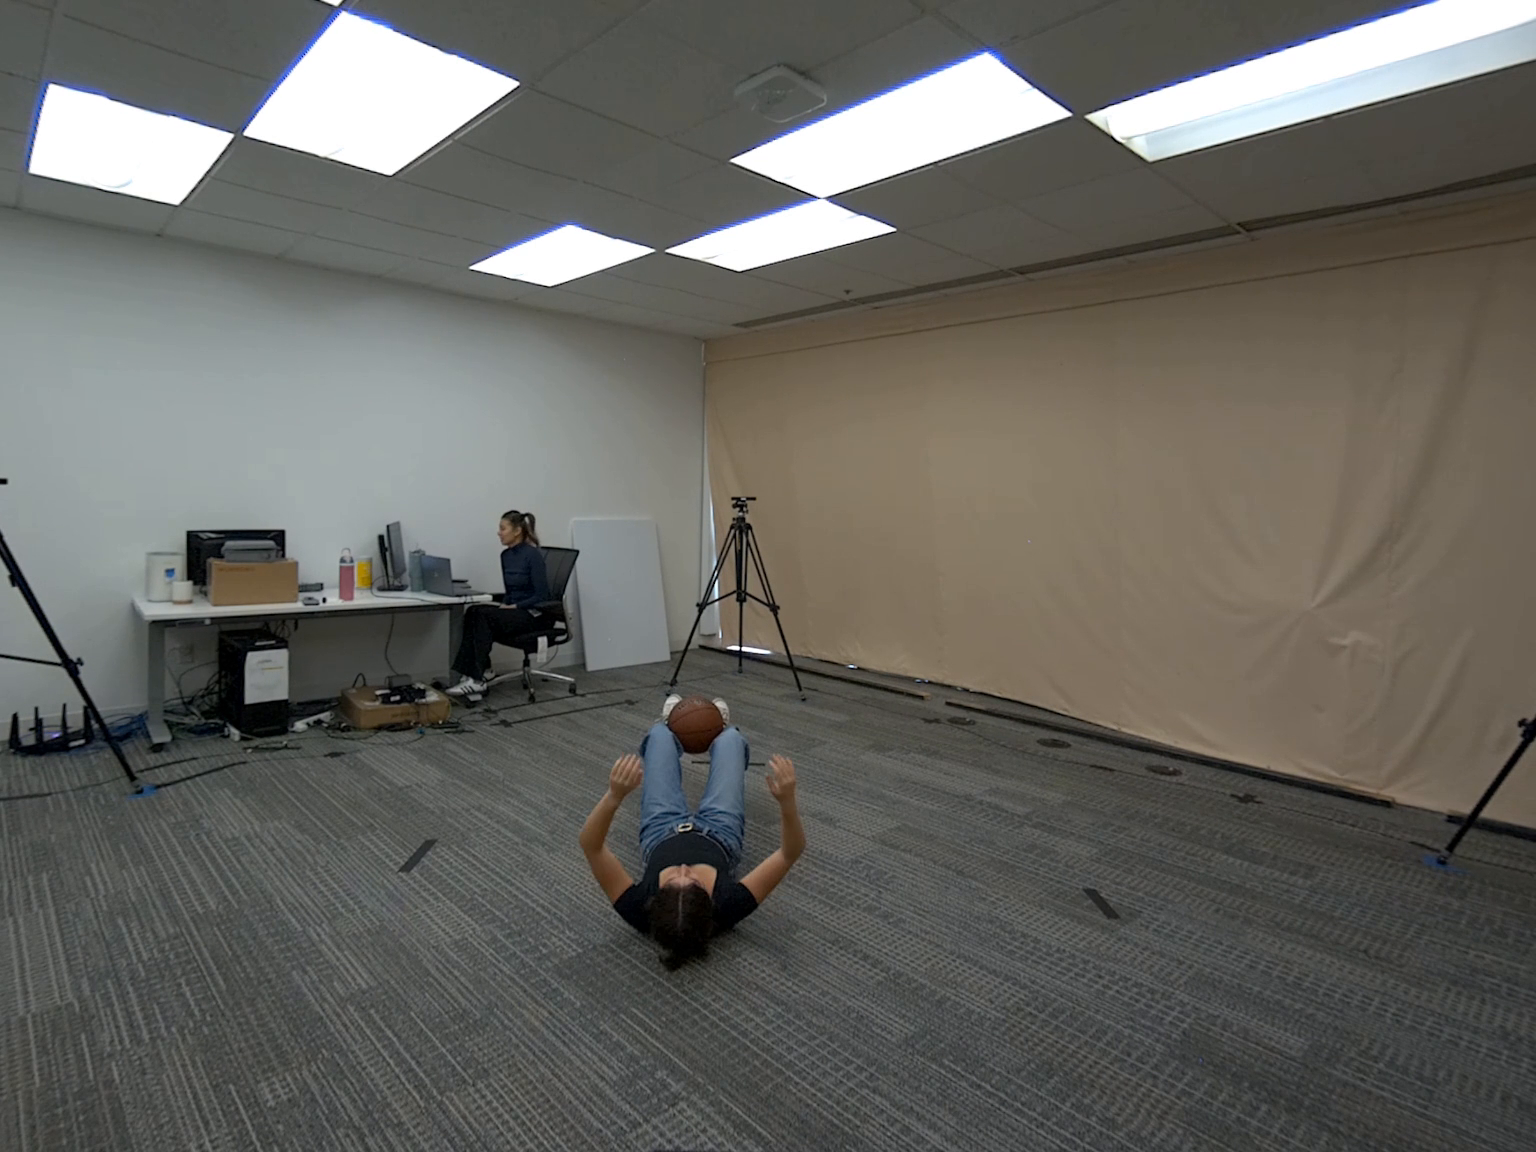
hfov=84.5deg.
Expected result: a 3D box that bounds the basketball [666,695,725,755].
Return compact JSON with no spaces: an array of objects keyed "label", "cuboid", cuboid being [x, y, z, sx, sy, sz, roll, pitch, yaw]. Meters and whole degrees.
[{"label":"basketball","cuboid":[-0.314,0.620,3.539,0.236,0.235,0.237,1,4,-1]}]
